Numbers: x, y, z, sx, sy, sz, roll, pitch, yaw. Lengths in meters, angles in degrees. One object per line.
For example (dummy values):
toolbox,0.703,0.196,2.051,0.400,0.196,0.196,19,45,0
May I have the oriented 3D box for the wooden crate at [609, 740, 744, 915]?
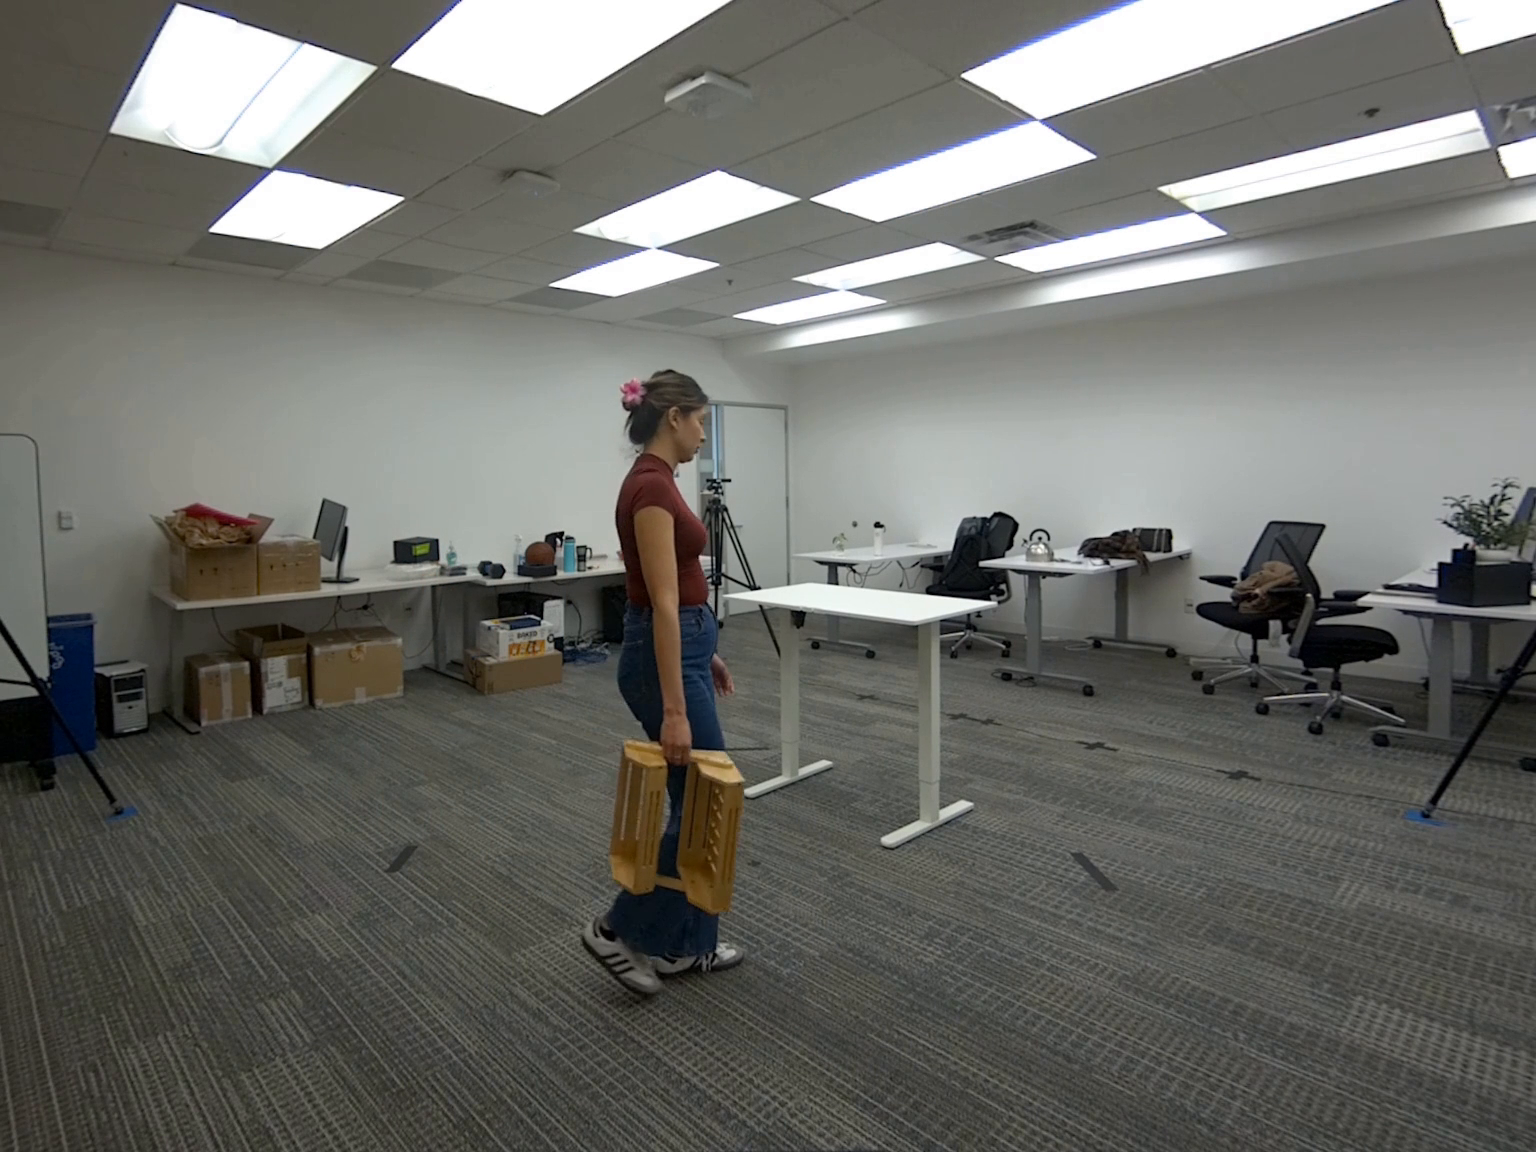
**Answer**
wooden crate,-0.230,0.596,2.052,0.270,0.324,0.306,6,2,-12
